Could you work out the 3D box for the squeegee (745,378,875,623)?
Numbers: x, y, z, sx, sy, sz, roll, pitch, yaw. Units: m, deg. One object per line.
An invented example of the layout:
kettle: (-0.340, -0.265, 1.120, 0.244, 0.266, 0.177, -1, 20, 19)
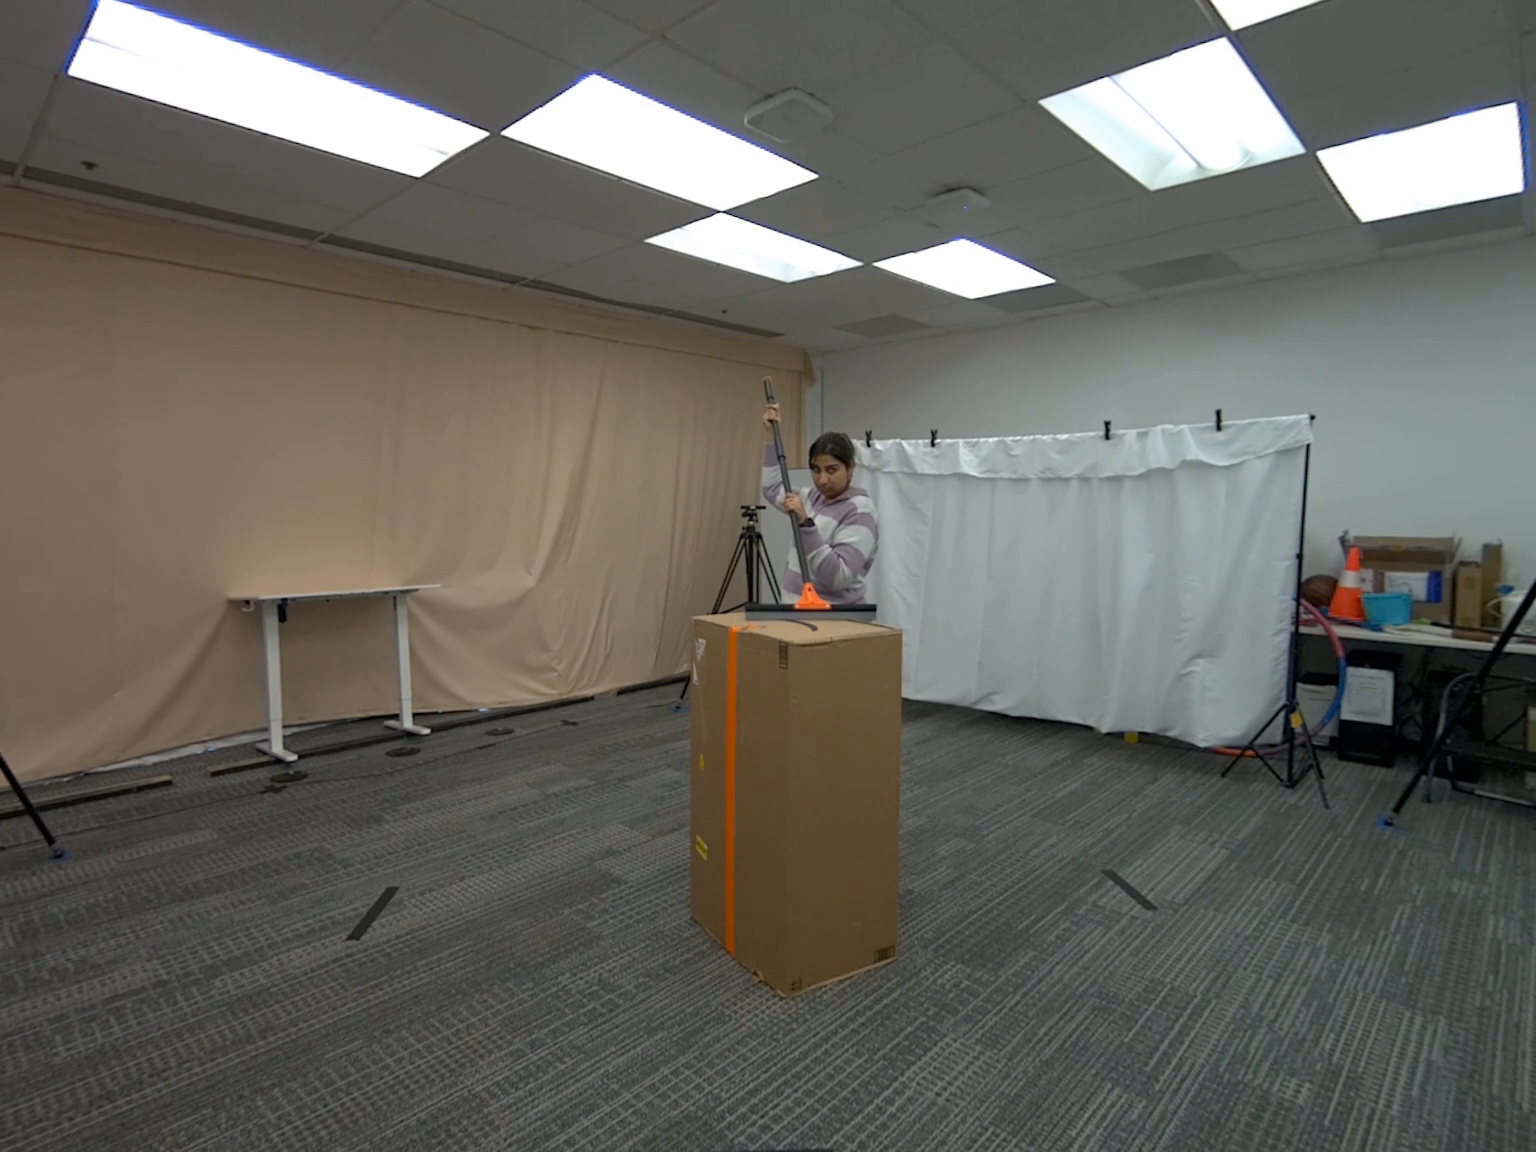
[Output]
squeegee: (0.041, -0.386, 3.302, 0.434, 0.052, 1.570, 2, 42, -7)
